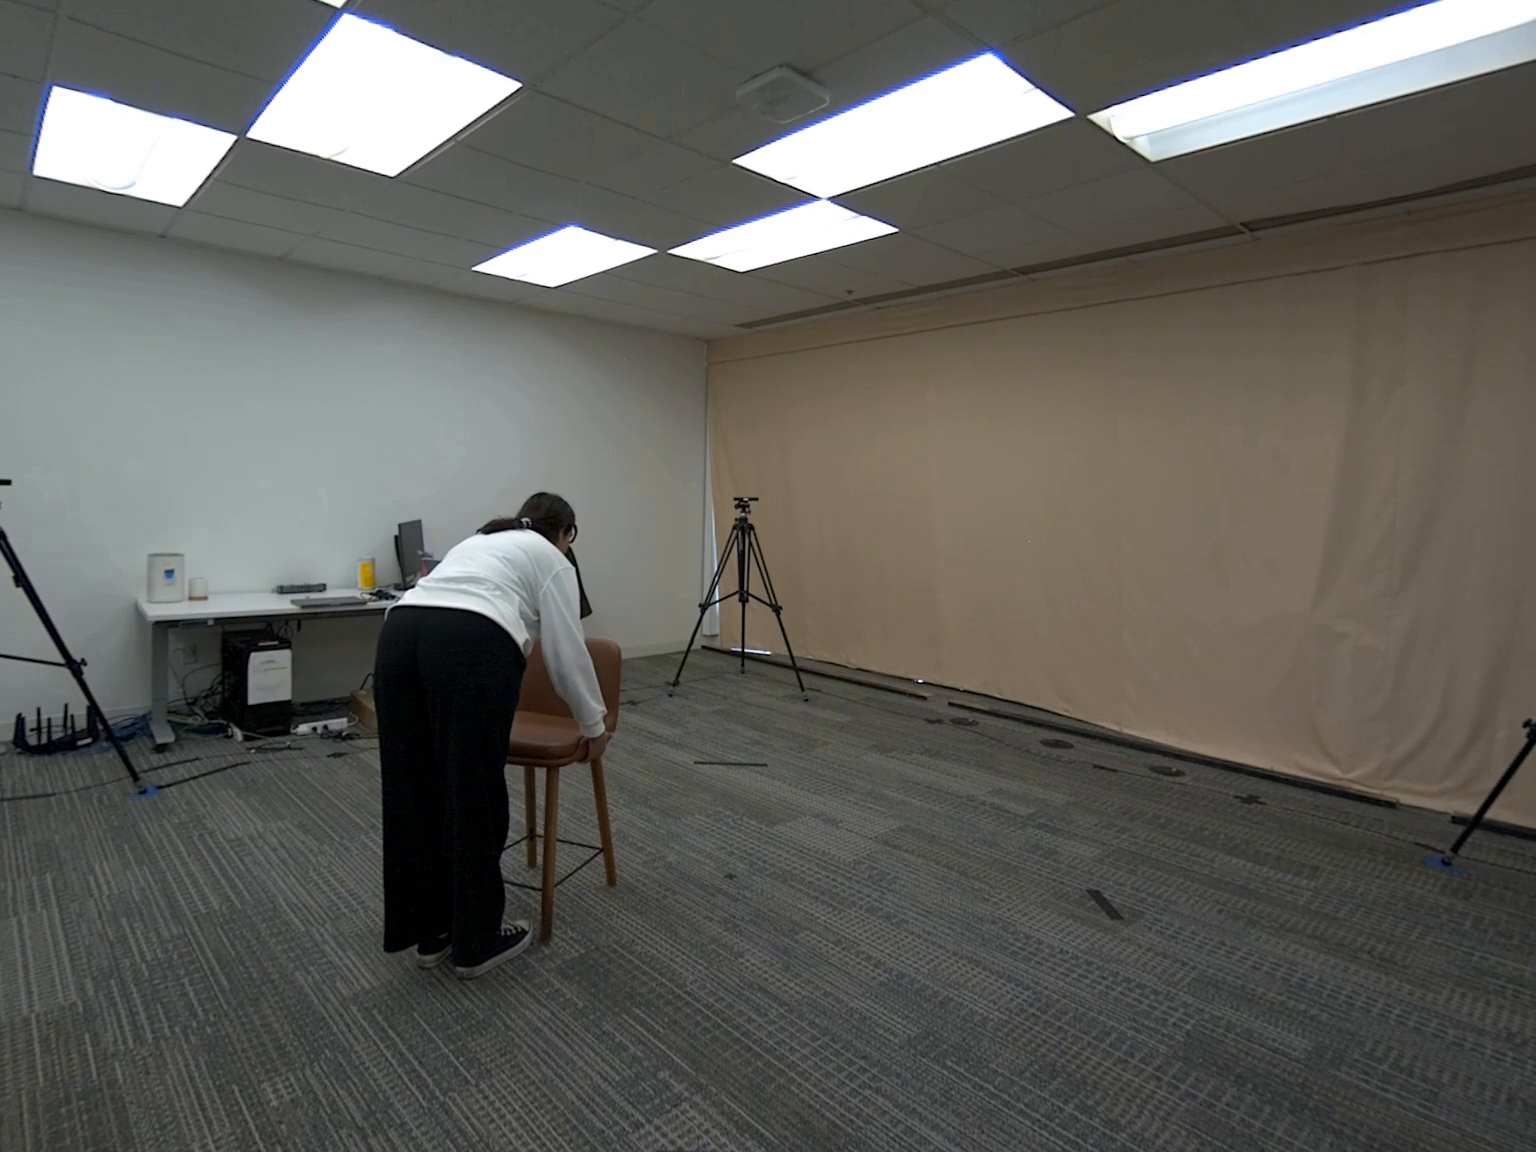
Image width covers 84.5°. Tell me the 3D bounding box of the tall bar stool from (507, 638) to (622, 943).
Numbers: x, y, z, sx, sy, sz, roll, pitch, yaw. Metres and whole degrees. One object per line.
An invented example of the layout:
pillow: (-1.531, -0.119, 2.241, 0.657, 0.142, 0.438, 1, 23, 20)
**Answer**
tall bar stool: (-0.790, 0.685, 2.863, 0.465, 0.888, 0.460, 3, 3, 23)
